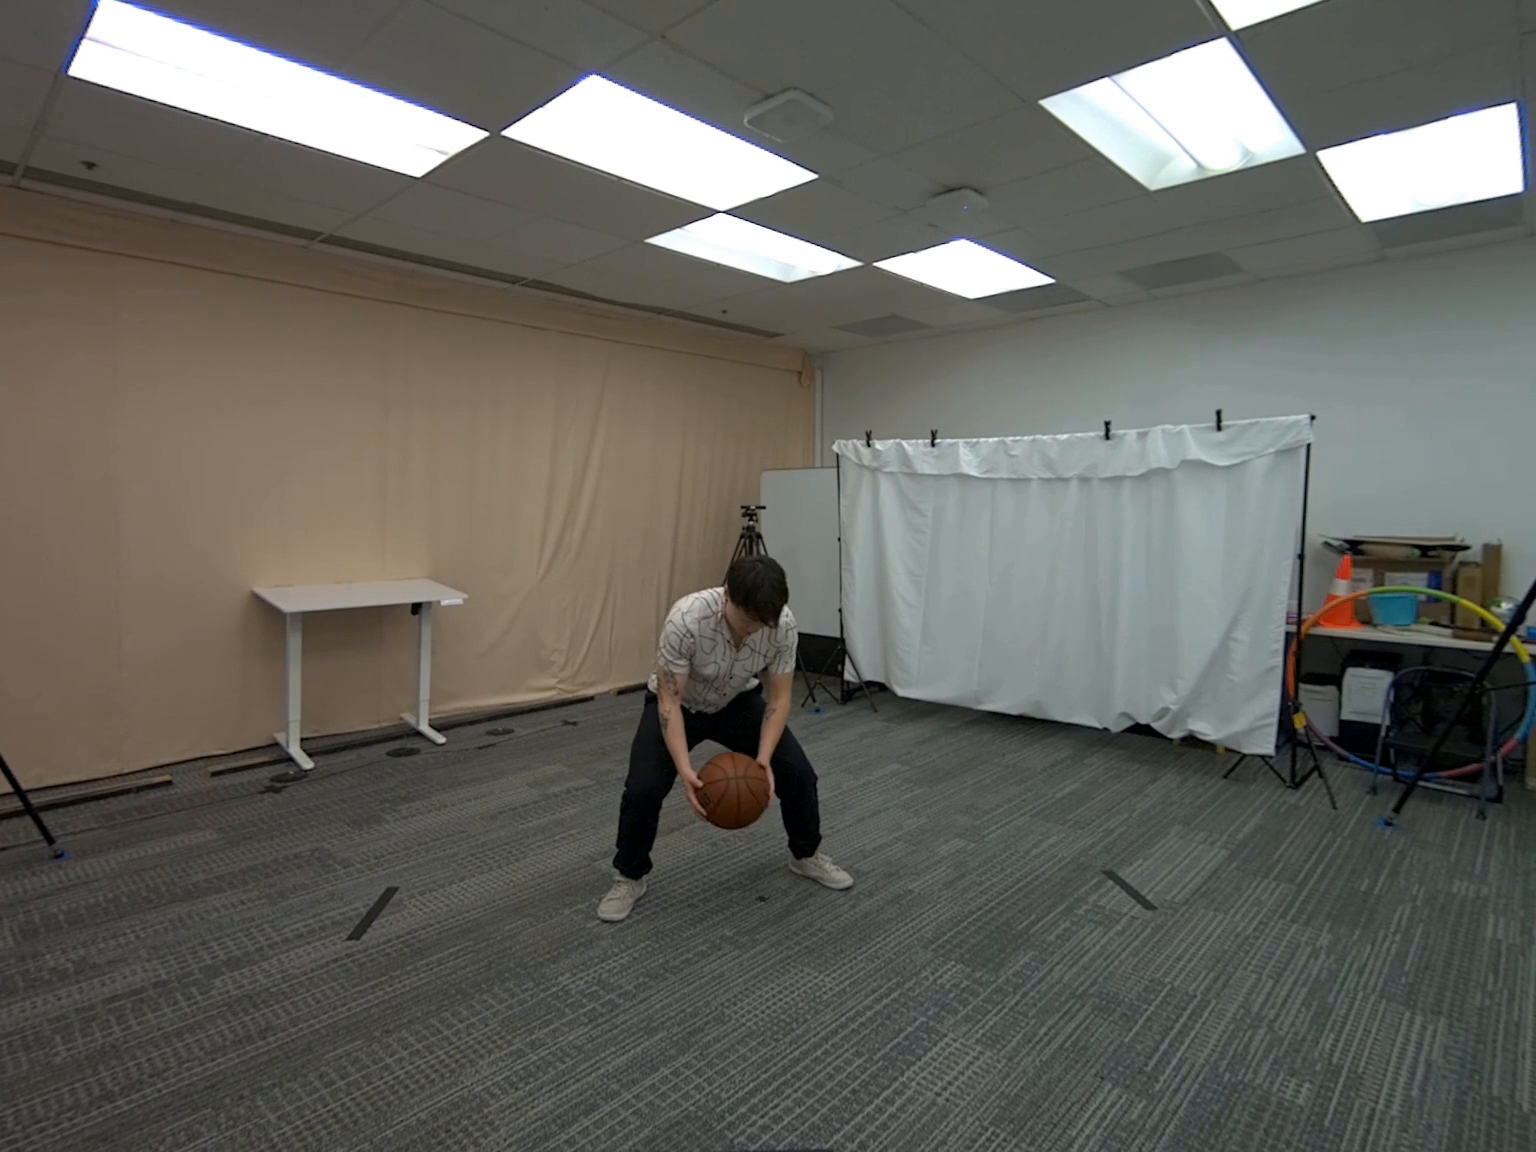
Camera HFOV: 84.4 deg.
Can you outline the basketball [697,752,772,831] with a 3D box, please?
[{"bbox_3d":[-0.107,0.674,2.679,0.236,0.235,0.237,0,4,-2],"label":"basketball"}]
